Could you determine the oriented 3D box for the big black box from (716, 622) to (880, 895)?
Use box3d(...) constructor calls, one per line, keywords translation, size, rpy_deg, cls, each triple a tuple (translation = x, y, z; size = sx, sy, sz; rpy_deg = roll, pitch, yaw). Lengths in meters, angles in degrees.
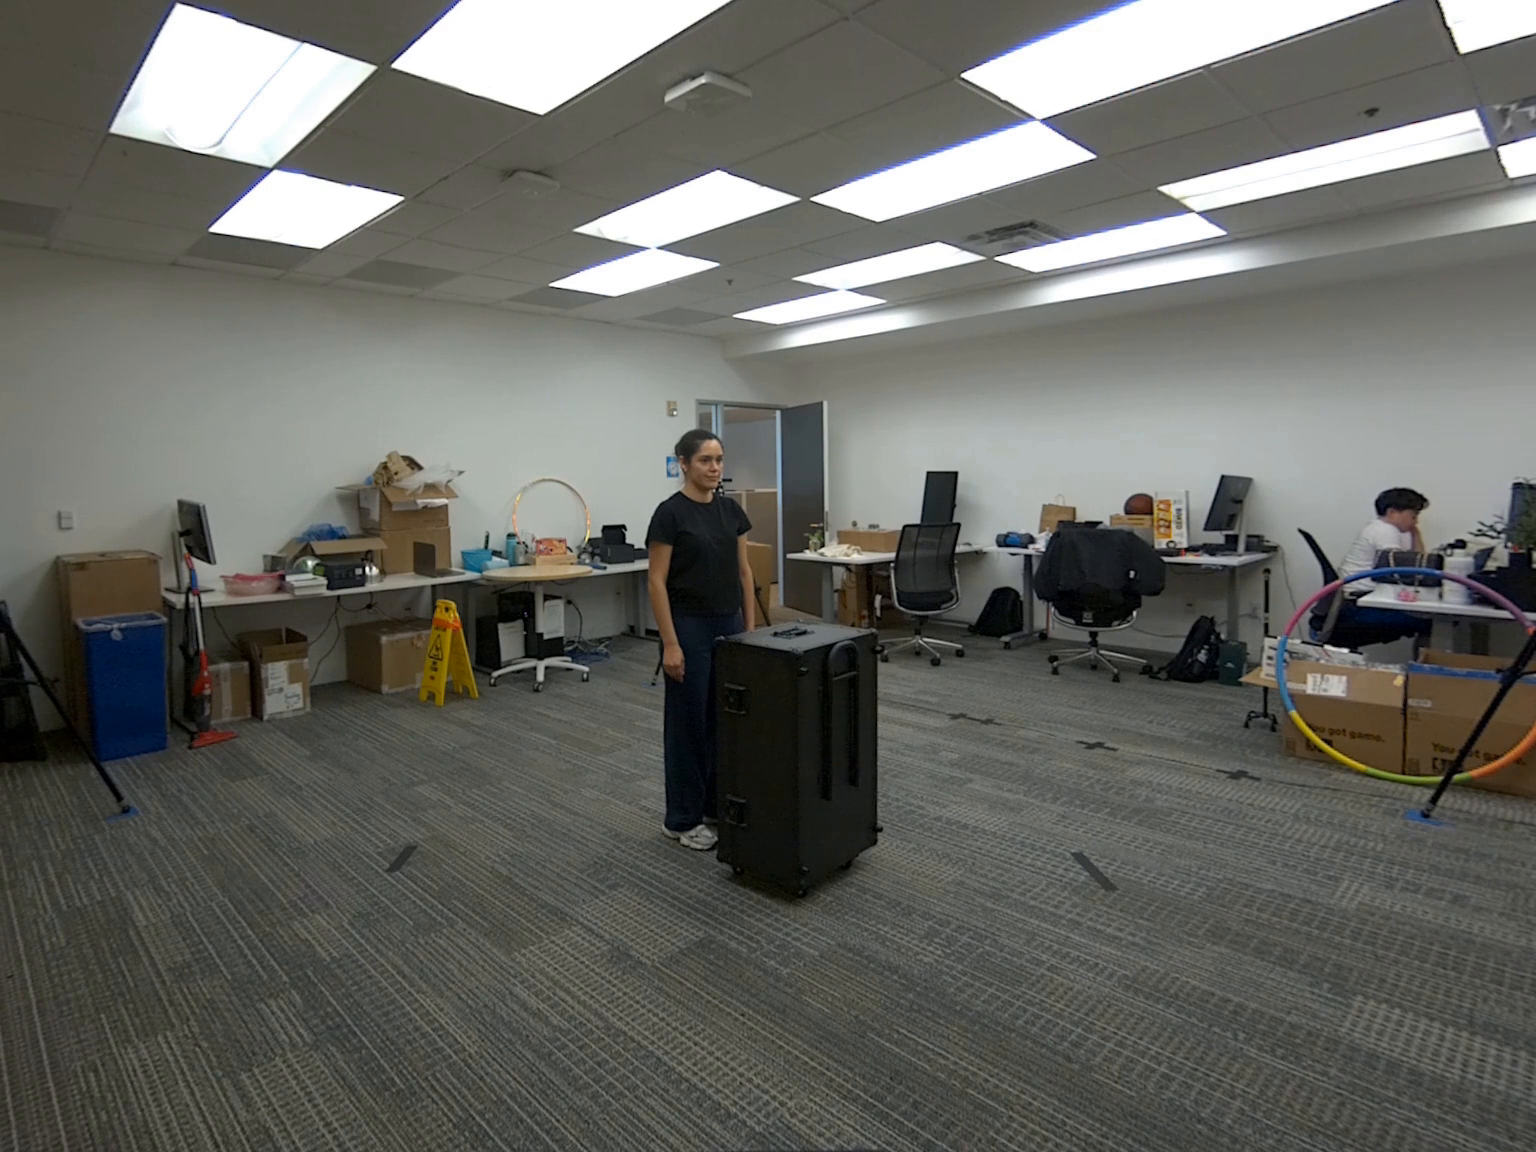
box3d(translation=(0.123, 0.629, 3.014), size=(0.408, 0.858, 0.508), rpy_deg=(4, 7, 40), cls="big black box")
